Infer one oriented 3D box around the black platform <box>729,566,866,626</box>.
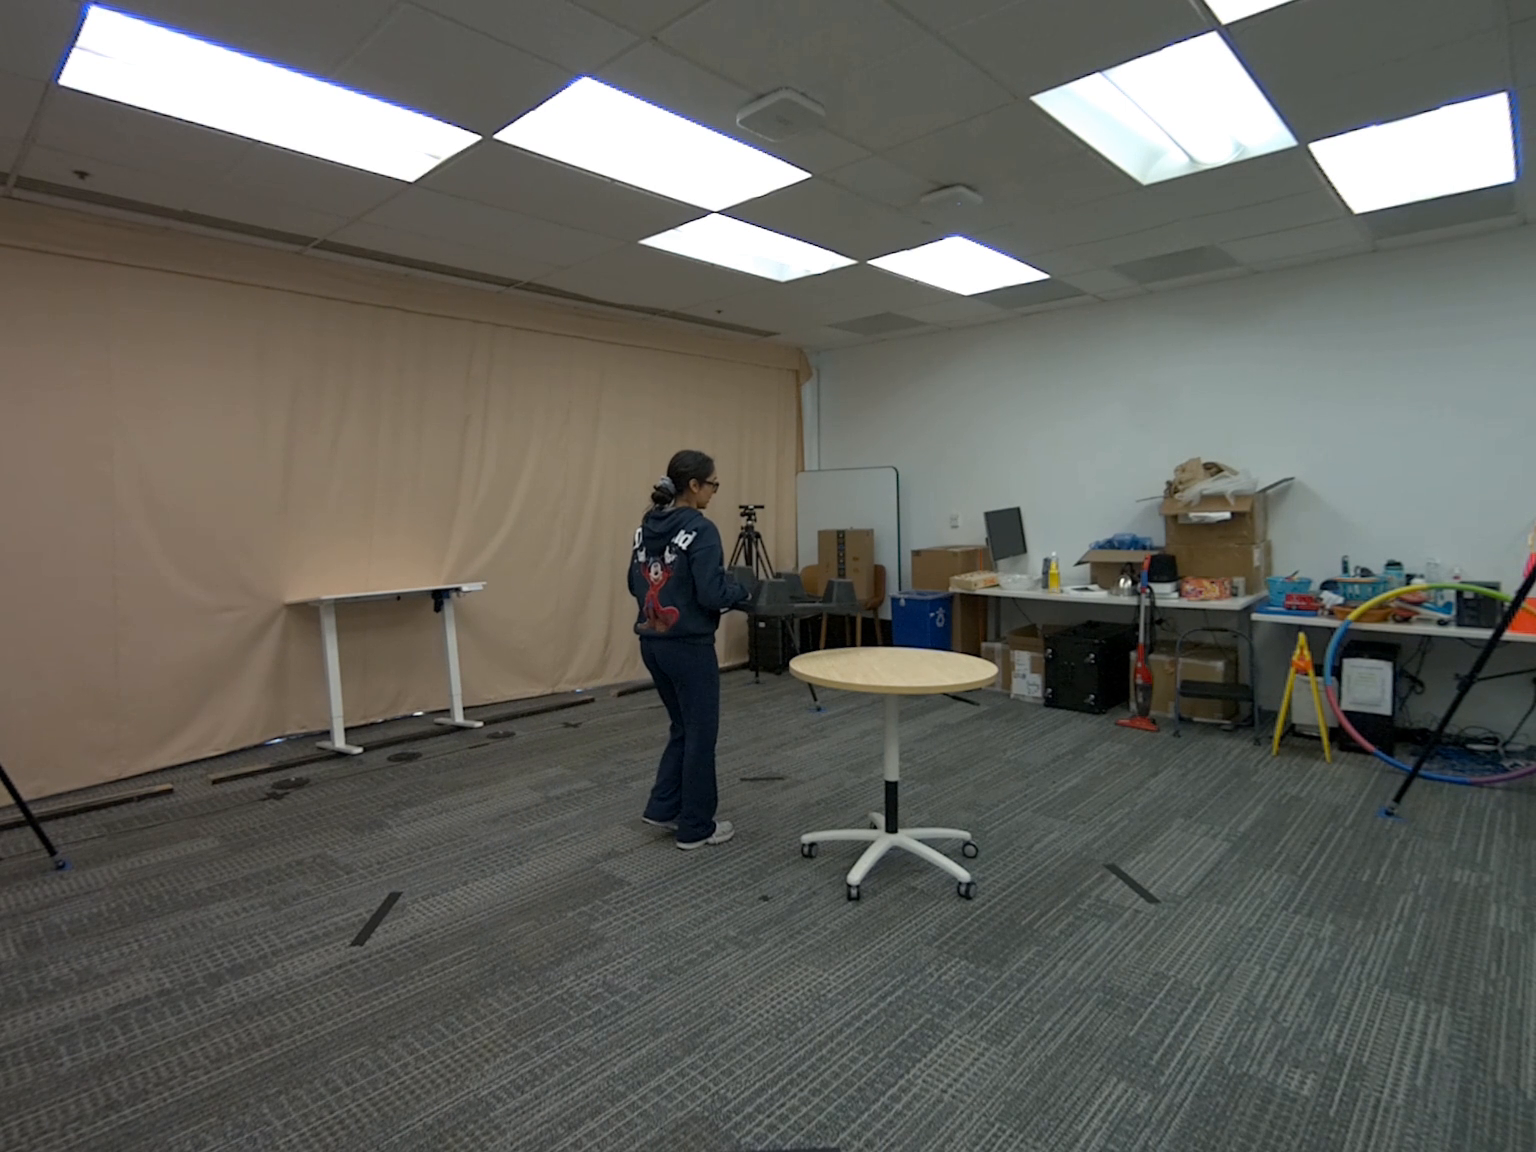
[{"bbox_3d":[-0.043,0.051,3.694,0.586,0.143,0.832,0,5,-38],"label":"black platform"}]
